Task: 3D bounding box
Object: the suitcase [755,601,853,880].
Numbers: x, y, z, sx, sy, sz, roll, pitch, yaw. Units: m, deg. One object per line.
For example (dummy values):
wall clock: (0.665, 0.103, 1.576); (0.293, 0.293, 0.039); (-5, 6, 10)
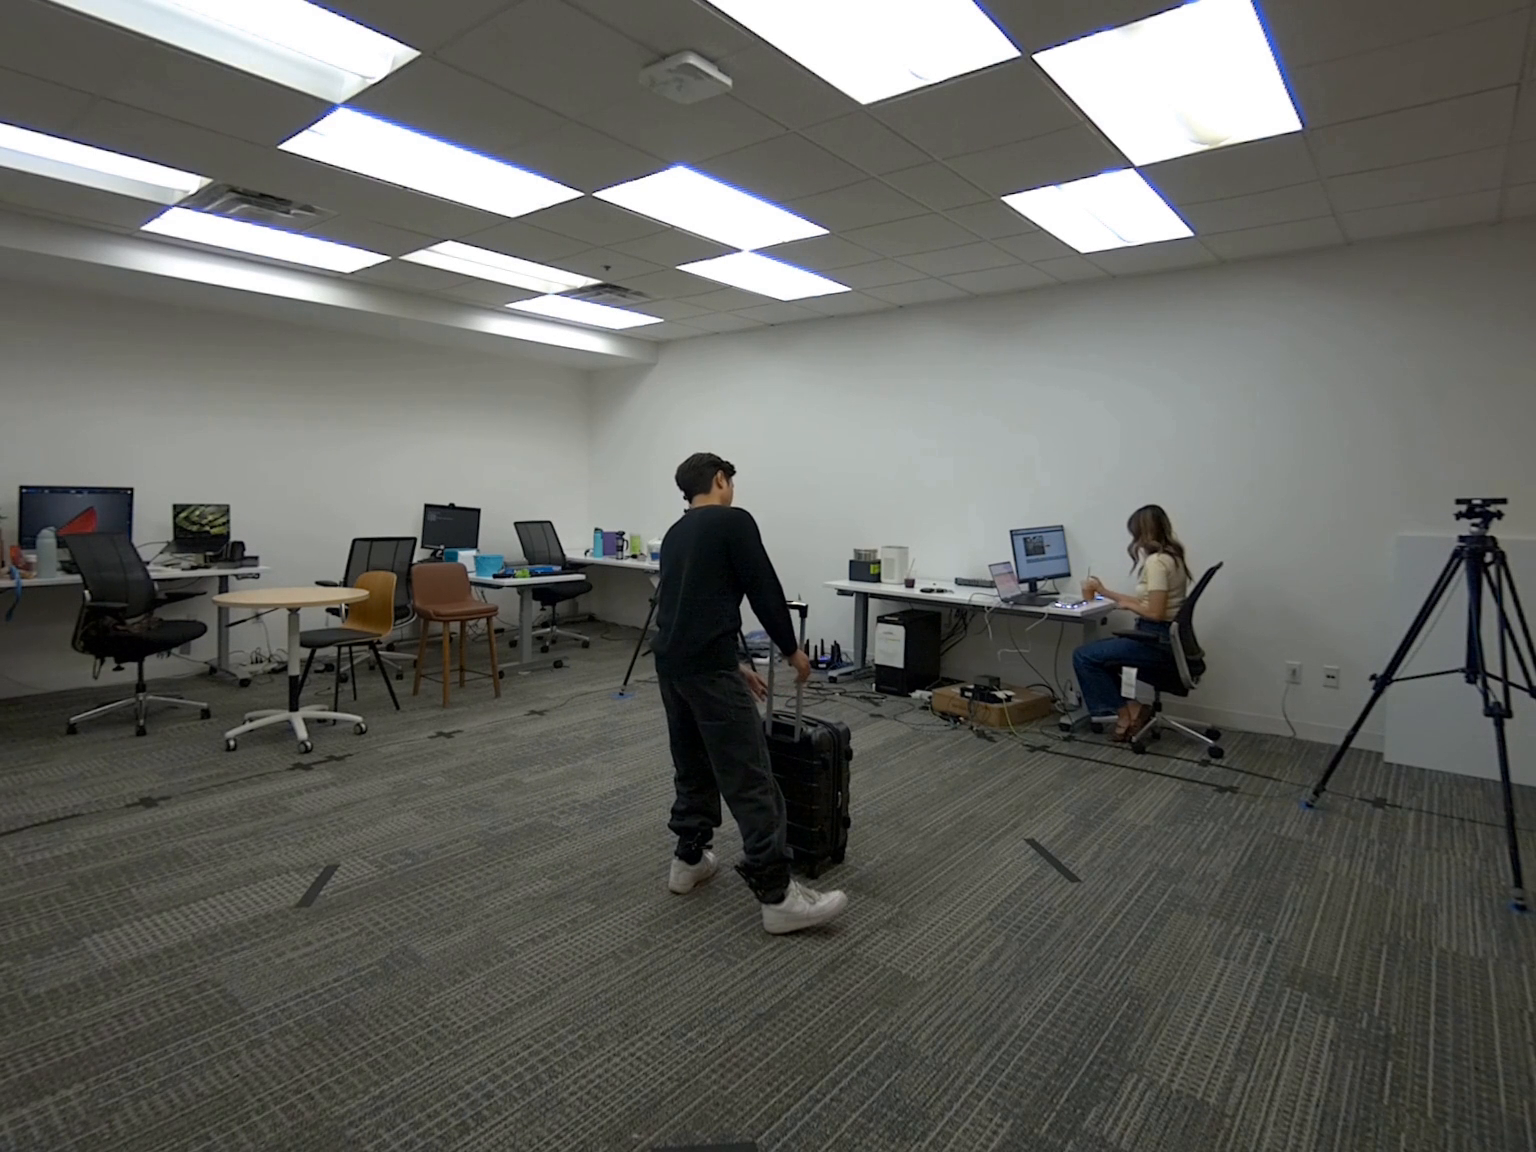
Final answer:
suitcase: (0.115, 0.589, 3.210); (0.397, 0.977, 0.249); (5, 2, 37)
